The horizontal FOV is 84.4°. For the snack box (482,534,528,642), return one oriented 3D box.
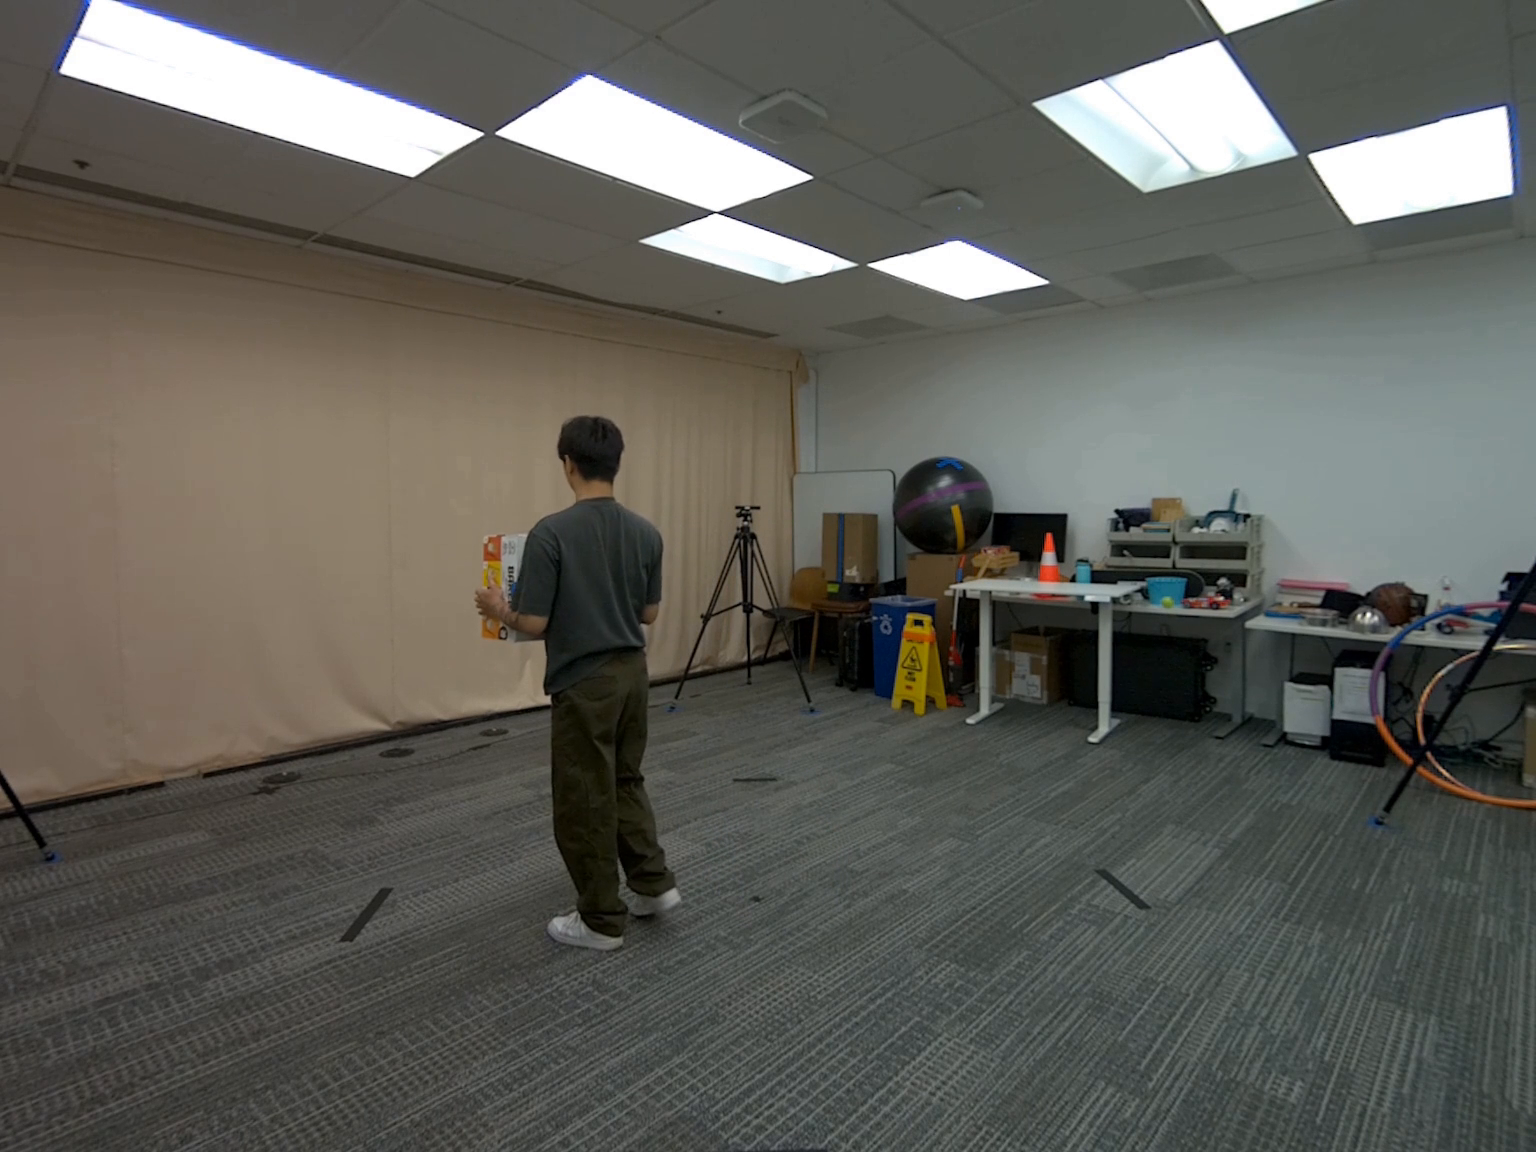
[{"bbox_3d":[-0.737,0.036,2.863,0.212,0.340,0.392,0,-1,42],"label":"snack box"}]
